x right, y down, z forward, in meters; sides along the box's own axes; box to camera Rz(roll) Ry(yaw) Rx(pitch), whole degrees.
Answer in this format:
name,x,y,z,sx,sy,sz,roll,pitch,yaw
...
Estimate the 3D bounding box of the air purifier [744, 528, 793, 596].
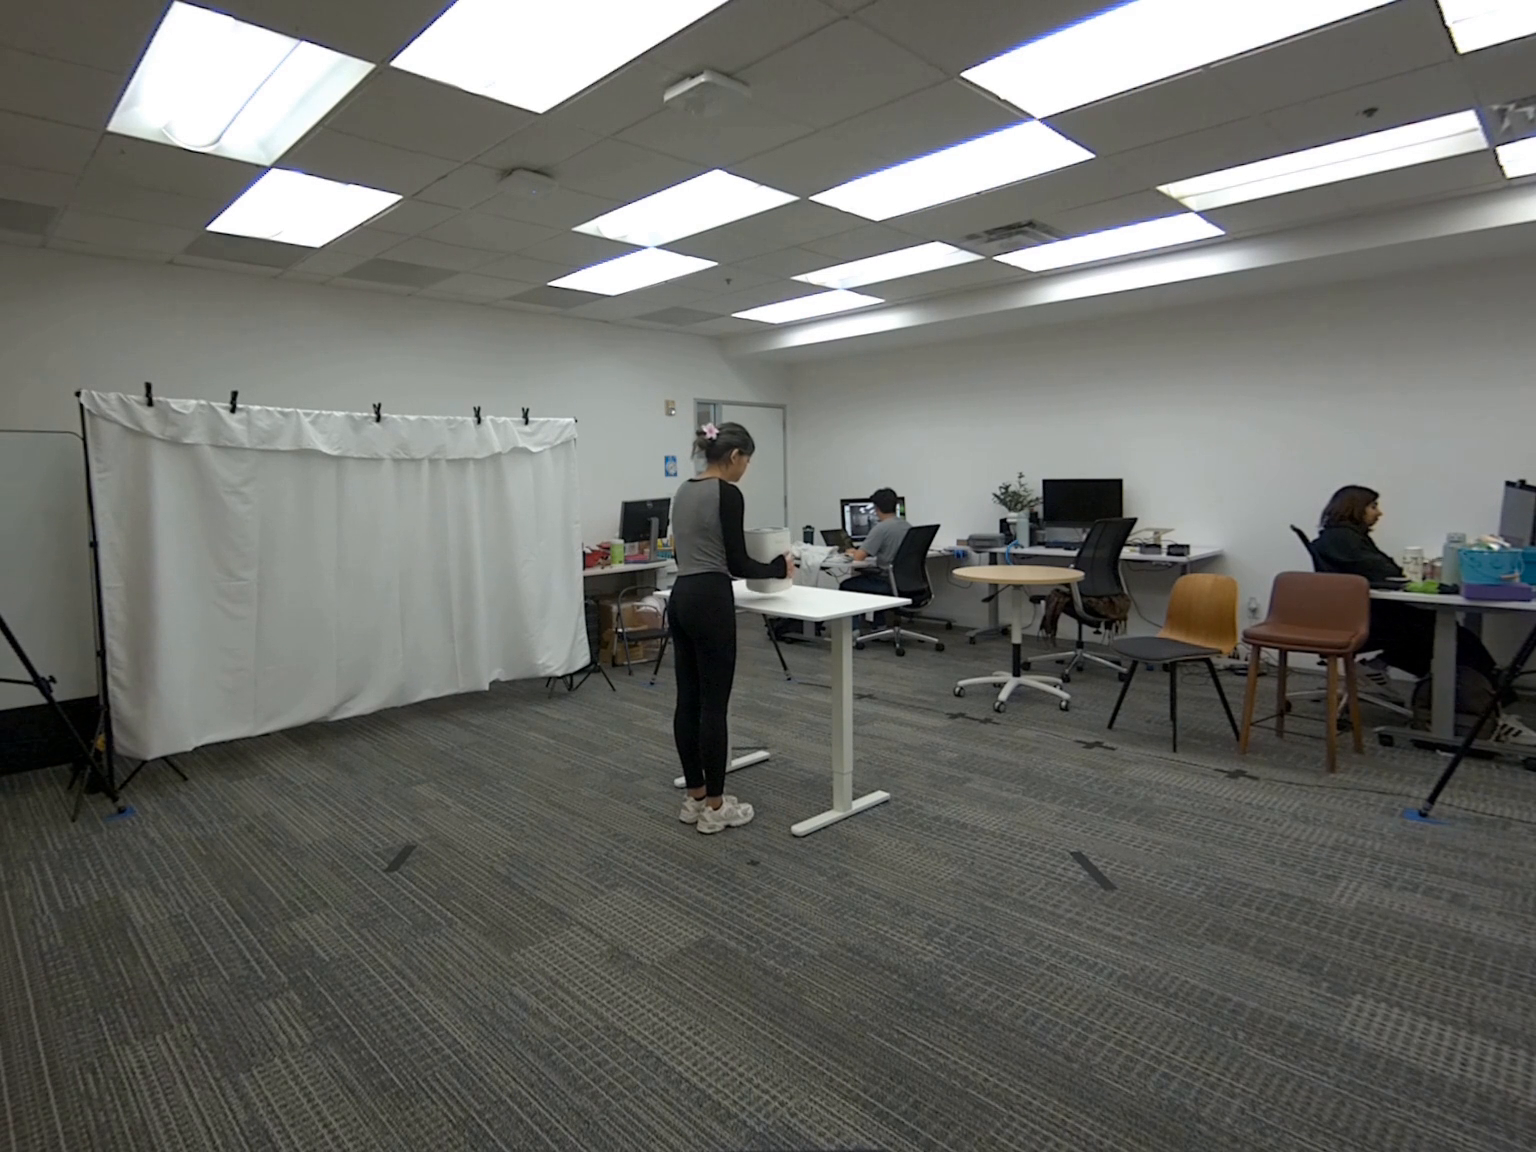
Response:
name,x,y,z,sx,sy,sz,roll,pitch,yaw
air purifier,-0.003,-0.067,3.645,0.167,0.263,0.177,-11,13,-39
